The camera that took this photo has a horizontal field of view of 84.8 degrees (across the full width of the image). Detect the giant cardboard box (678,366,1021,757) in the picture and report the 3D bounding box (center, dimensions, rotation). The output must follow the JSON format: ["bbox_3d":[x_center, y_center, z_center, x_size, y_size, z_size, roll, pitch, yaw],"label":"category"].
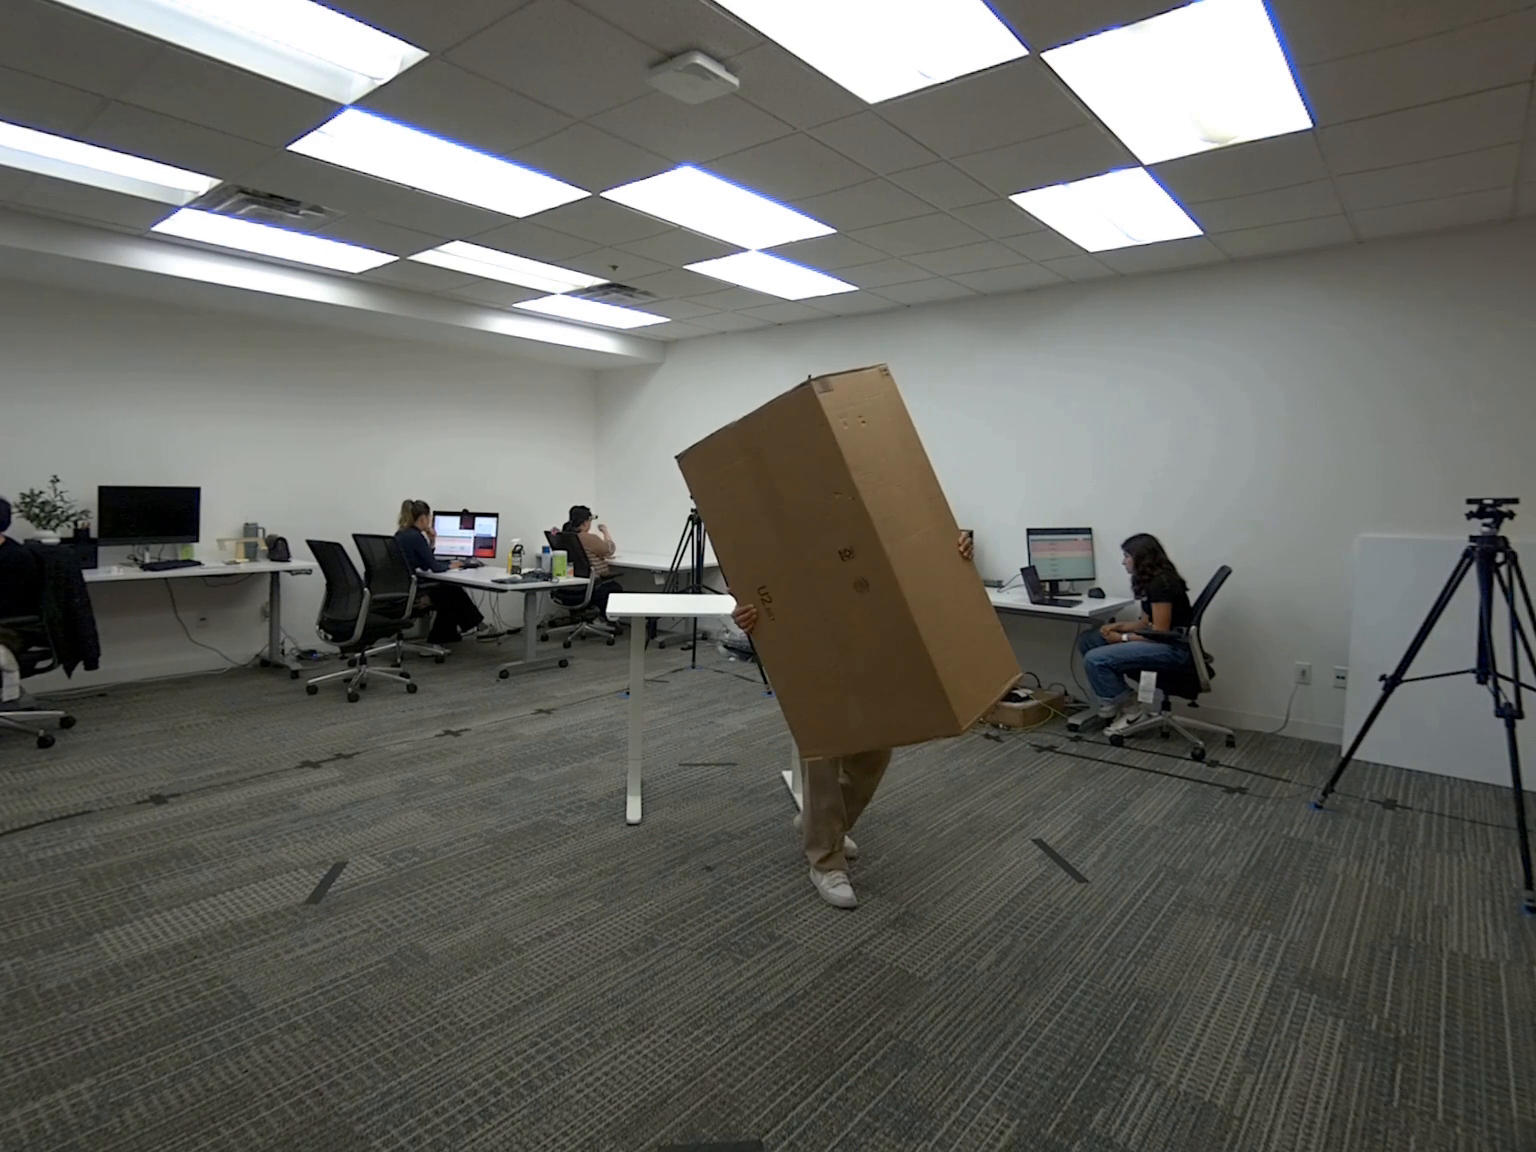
[{"bbox_3d":[0.231,-0.036,2.581,0.587,1.028,0.418,-24,-2,41],"label":"giant cardboard box"}]
